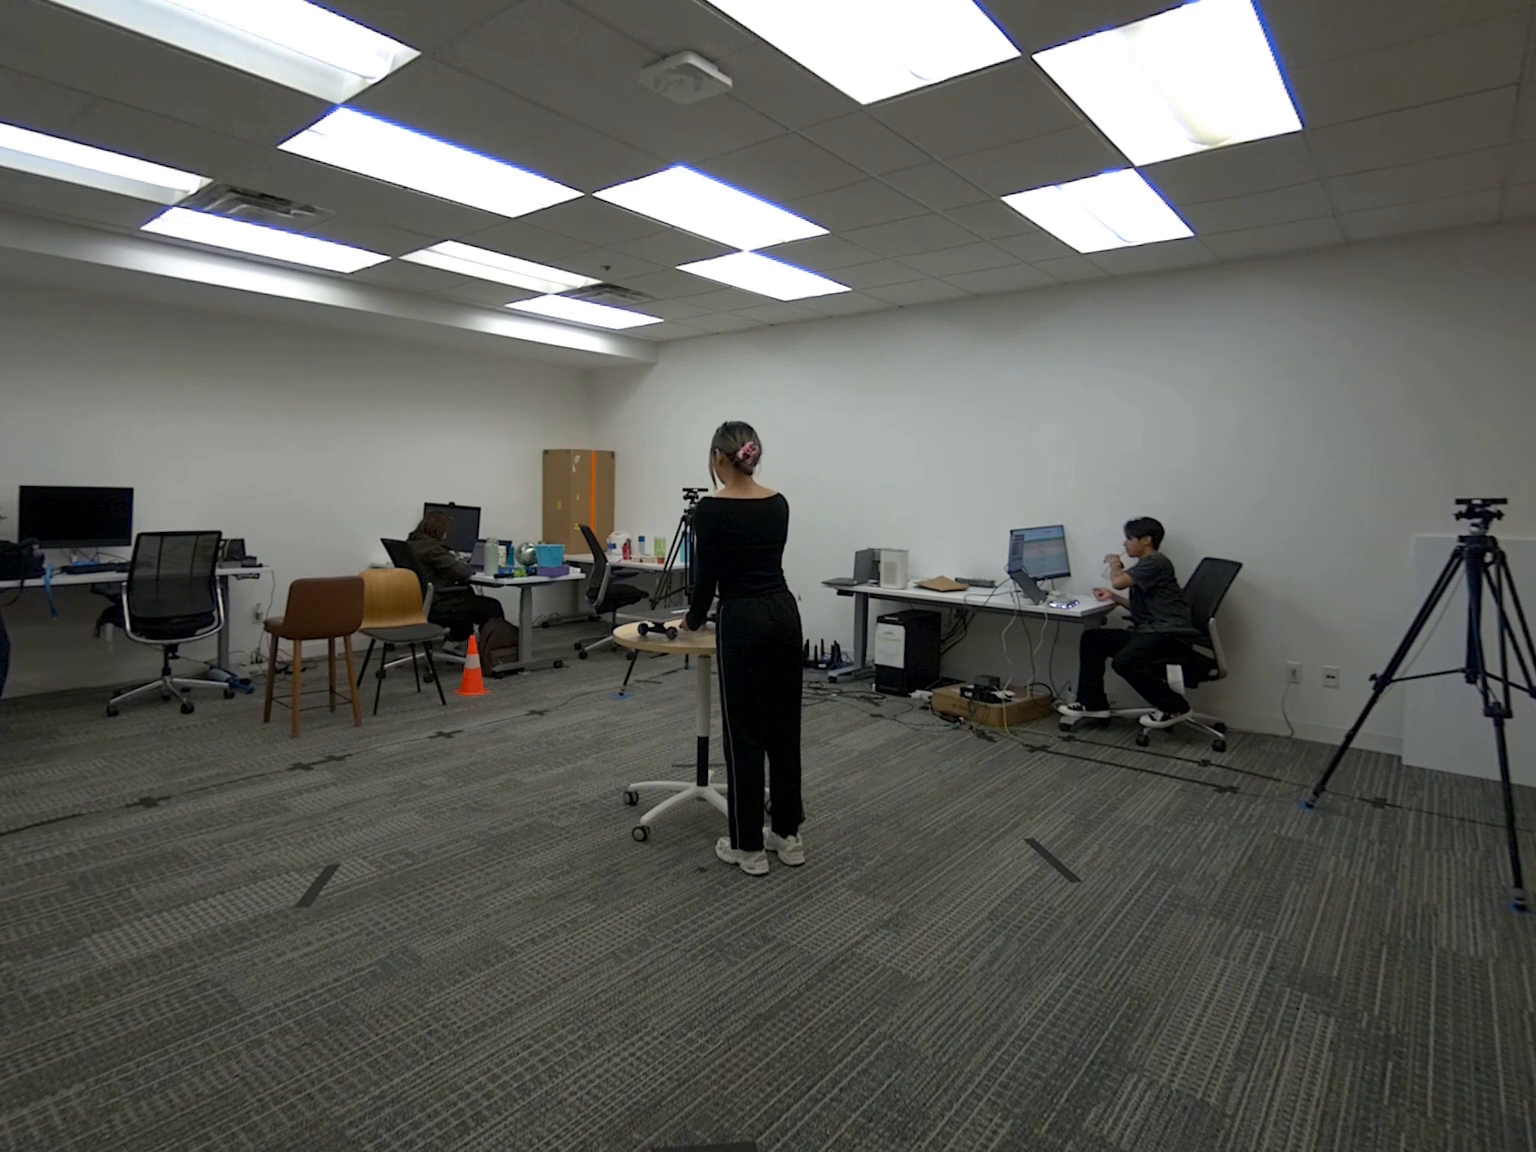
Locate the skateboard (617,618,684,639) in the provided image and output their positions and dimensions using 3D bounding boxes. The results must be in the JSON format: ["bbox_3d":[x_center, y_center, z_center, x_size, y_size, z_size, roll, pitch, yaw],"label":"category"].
[{"bbox_3d":[-0.341,0.179,3.571,0.199,0.110,0.764,1,4,33],"label":"skateboard"}]
